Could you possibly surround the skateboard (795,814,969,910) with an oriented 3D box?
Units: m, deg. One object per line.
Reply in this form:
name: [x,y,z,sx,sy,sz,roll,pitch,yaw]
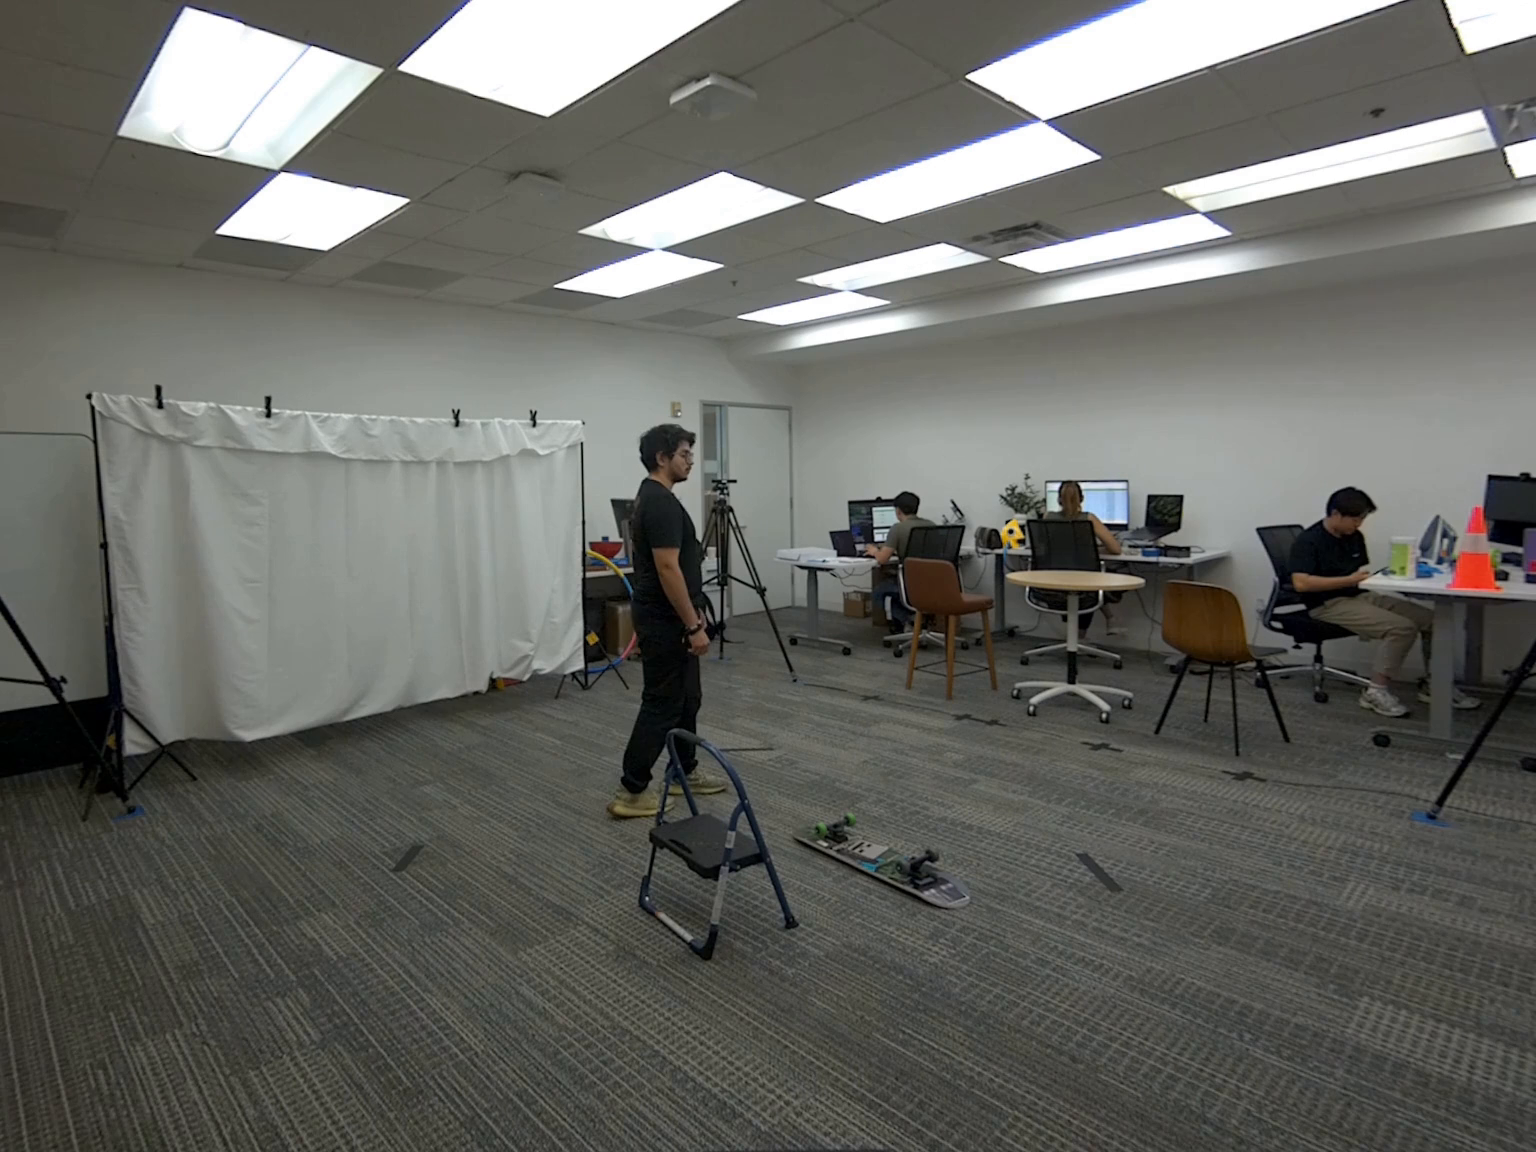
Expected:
skateboard: [0.386,0.990,3.086,0.188,0.110,0.810,-5,8,-39]
